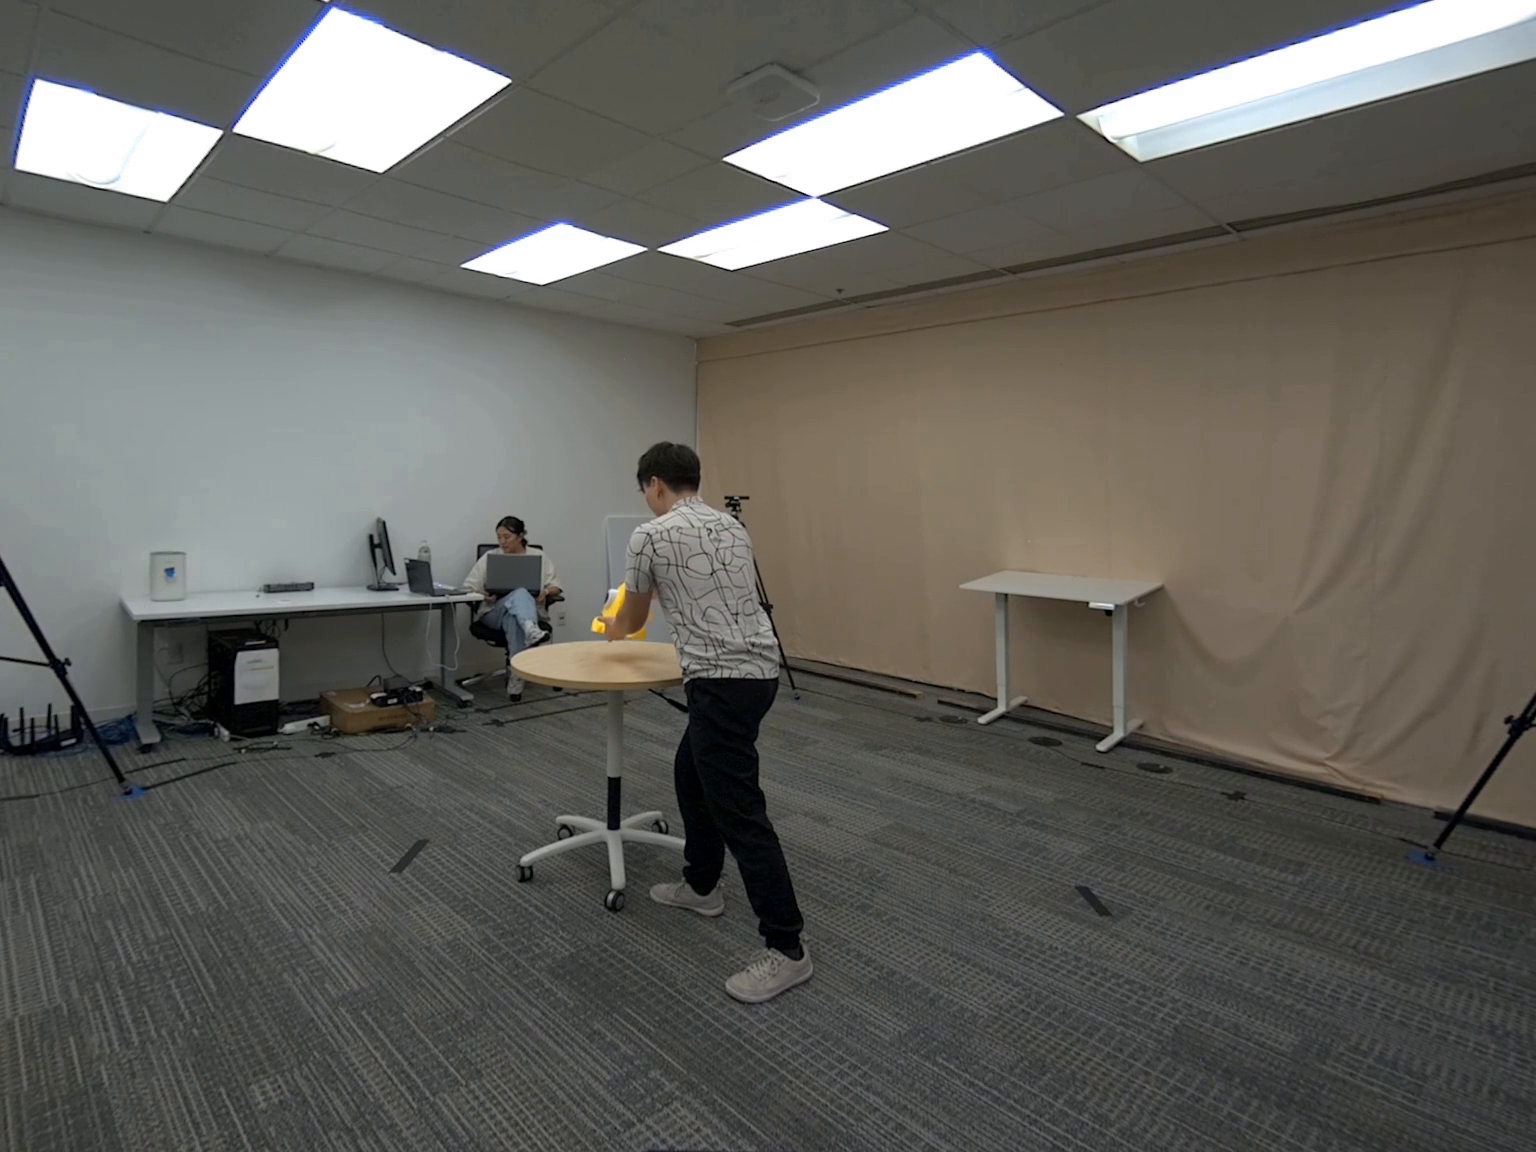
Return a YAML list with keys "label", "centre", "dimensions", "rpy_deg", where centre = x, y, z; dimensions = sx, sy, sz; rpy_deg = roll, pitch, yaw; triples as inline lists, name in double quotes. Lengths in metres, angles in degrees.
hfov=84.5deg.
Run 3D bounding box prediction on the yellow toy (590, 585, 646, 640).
- label: "yellow toy"
  centre: [-0.553, 0.111, 3.152]
  dimensions: [0.206, 0.232, 0.191]
  rpy_deg: [8, -6, 5]
